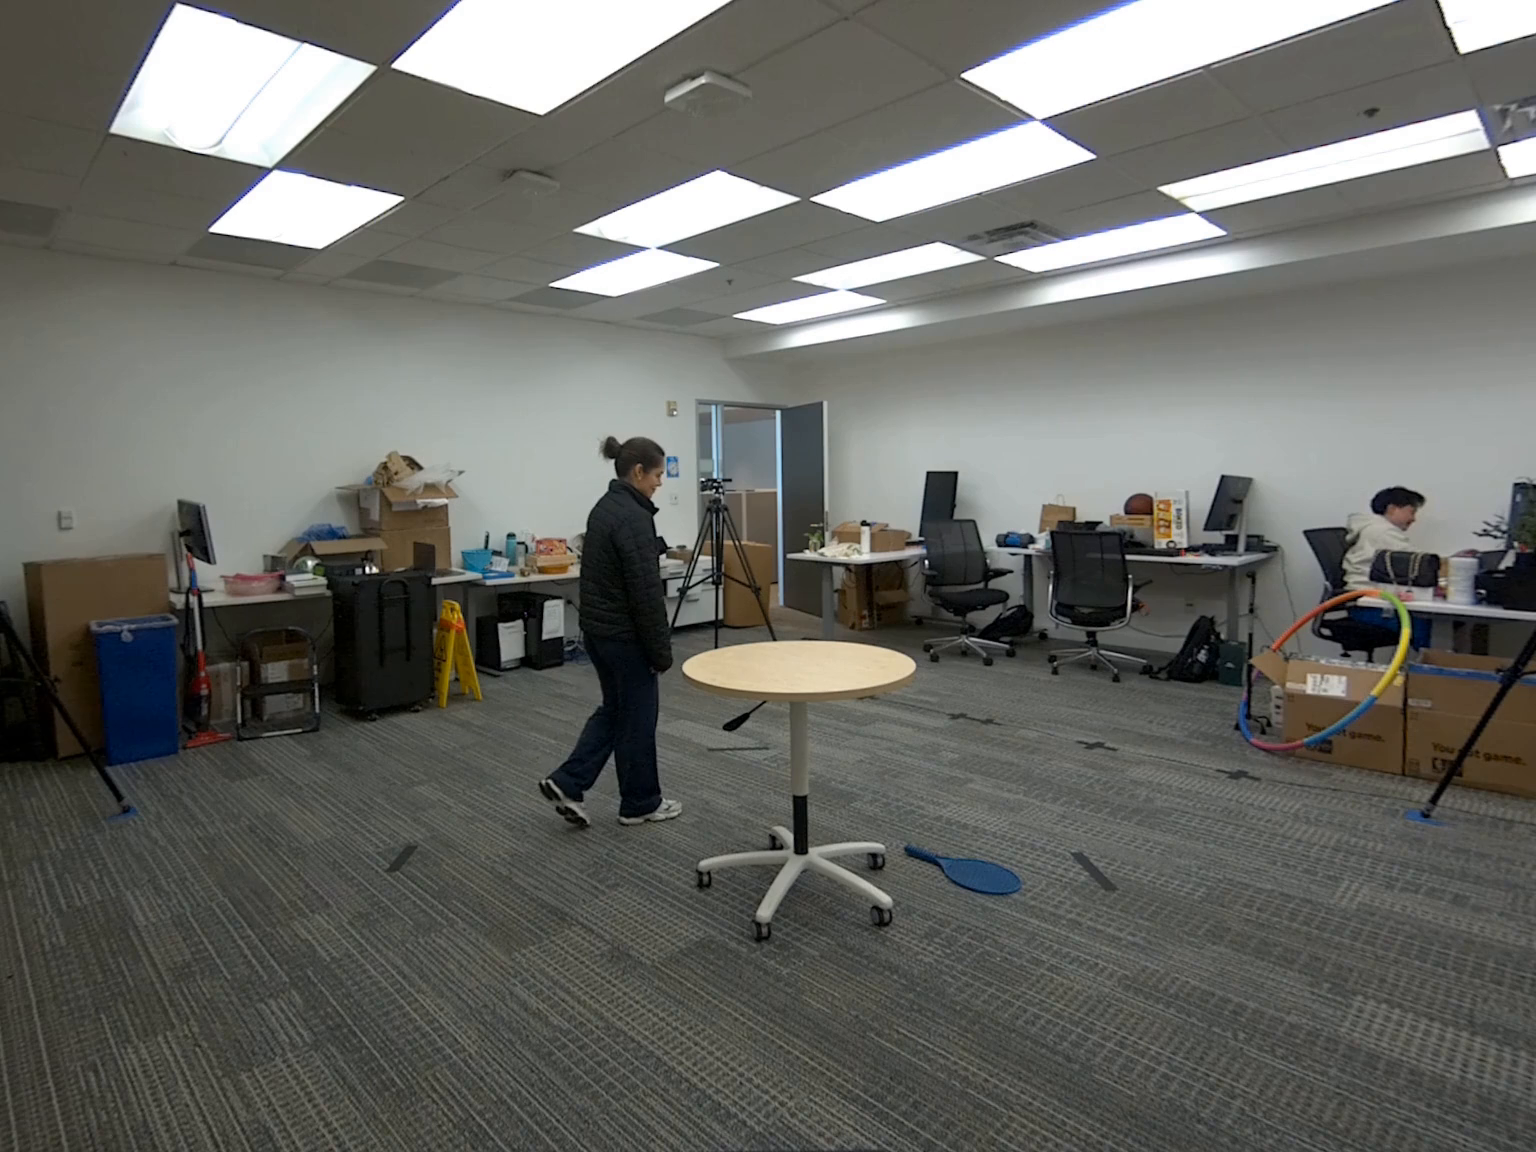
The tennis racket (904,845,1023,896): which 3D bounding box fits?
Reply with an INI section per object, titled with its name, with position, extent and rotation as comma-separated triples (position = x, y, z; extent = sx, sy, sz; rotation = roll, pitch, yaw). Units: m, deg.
[tennis racket]
position = 0.674, 1.027, 3.032
extent = 0.447, 0.031, 0.208
rotation = 7, 10, 44
